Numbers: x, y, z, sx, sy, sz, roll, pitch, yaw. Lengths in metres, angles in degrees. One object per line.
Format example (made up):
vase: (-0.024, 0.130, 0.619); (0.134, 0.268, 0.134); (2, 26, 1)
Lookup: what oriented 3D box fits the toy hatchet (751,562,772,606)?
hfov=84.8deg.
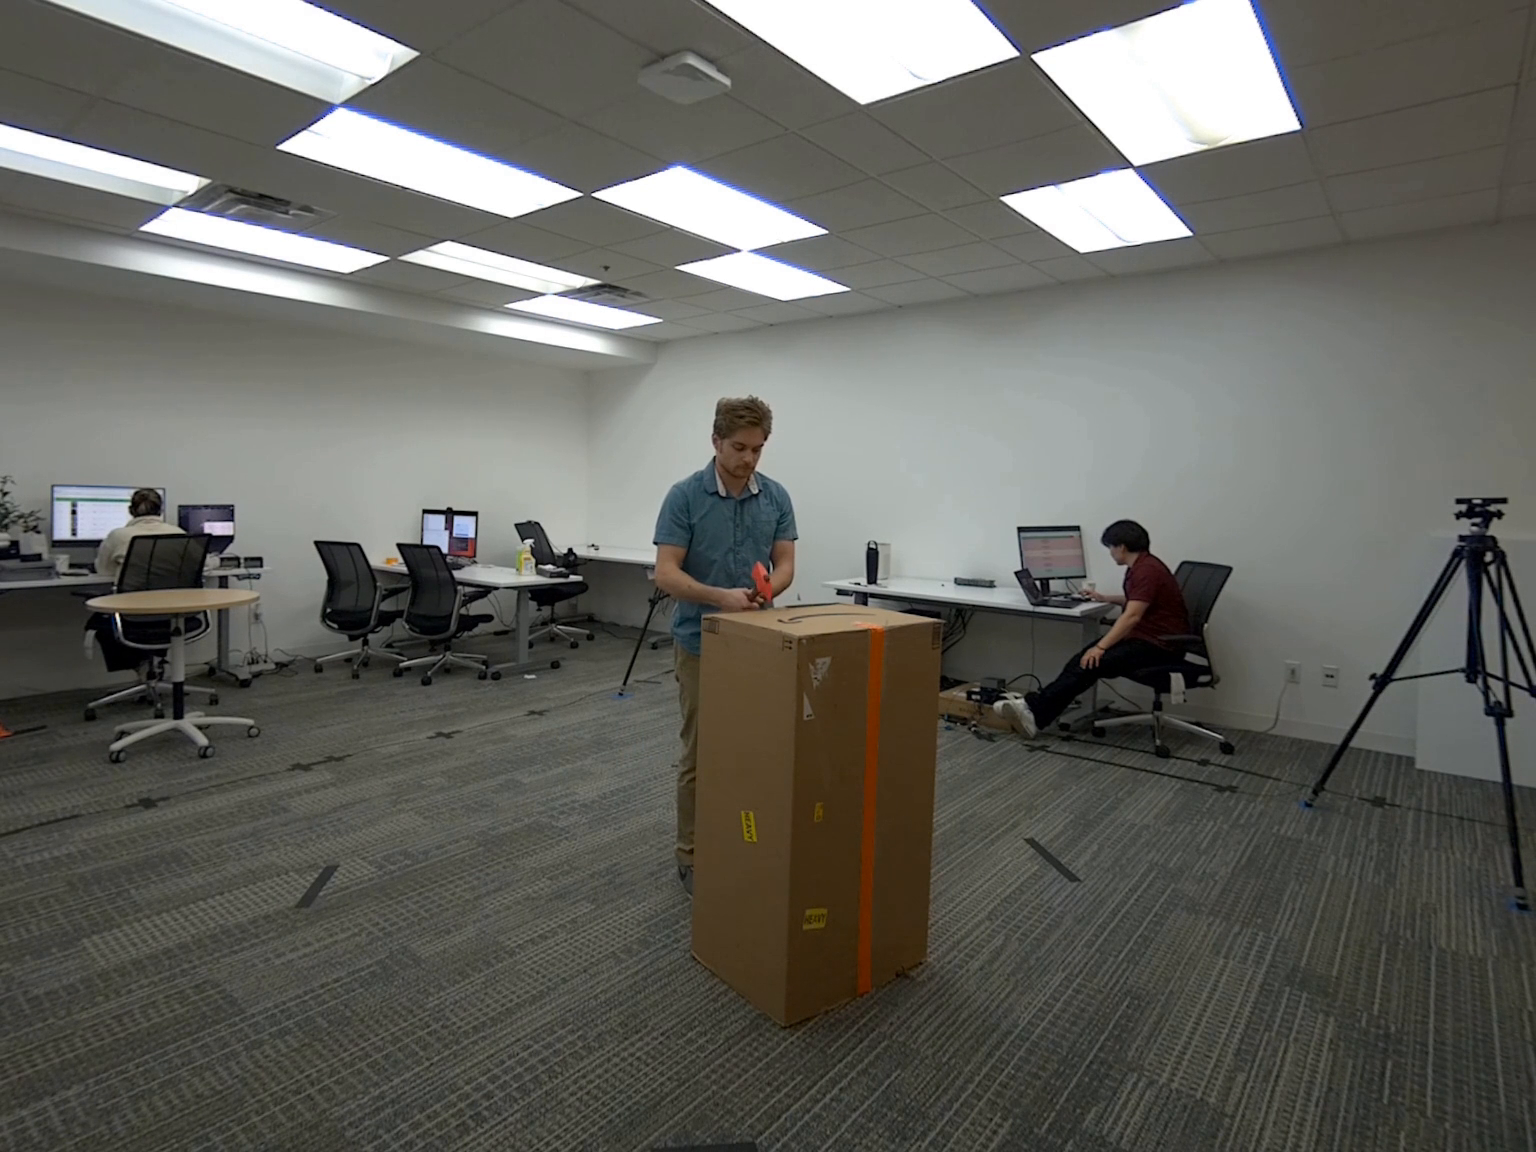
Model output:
toy hatchet: (-0.063, 0.032, 2.648); (0.029, 0.132, 0.273); (-3, -10, -26)
